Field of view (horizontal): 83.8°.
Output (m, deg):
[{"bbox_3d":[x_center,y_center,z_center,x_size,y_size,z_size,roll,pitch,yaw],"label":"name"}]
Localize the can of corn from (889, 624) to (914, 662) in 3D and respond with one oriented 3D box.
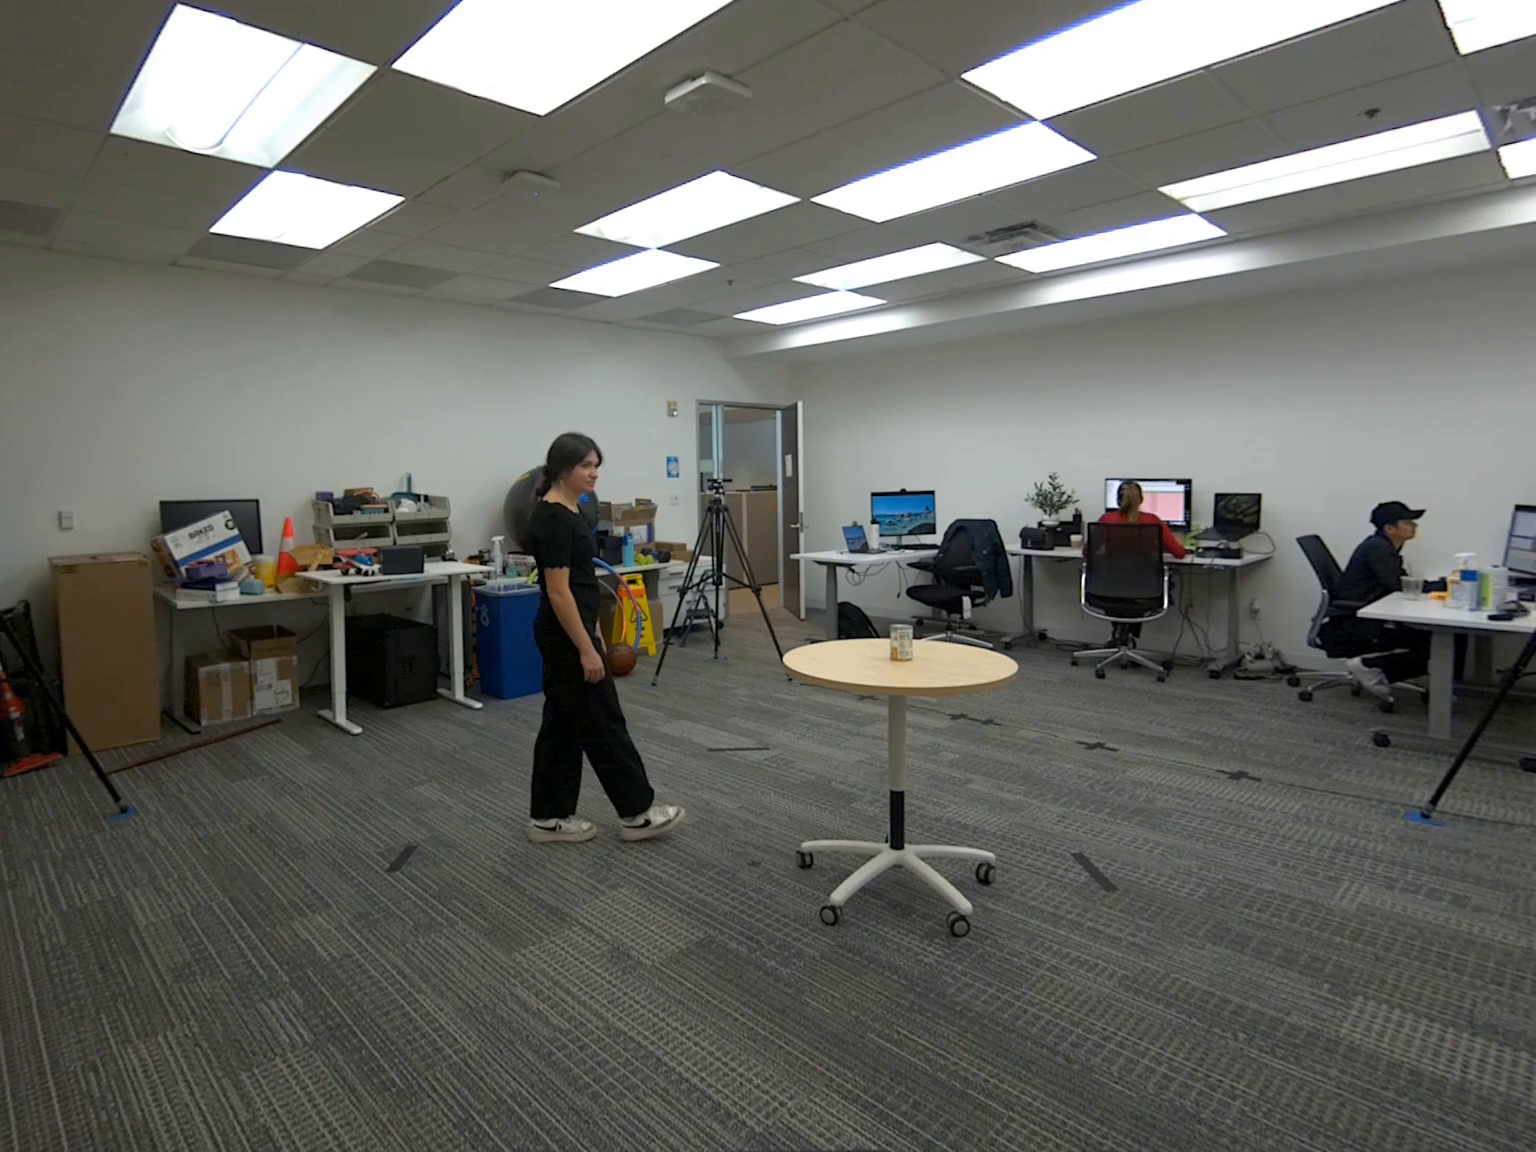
[{"bbox_3d":[0.452,0.225,2.861,0.074,0.110,0.075,-1,6,-2],"label":"can of corn"}]
